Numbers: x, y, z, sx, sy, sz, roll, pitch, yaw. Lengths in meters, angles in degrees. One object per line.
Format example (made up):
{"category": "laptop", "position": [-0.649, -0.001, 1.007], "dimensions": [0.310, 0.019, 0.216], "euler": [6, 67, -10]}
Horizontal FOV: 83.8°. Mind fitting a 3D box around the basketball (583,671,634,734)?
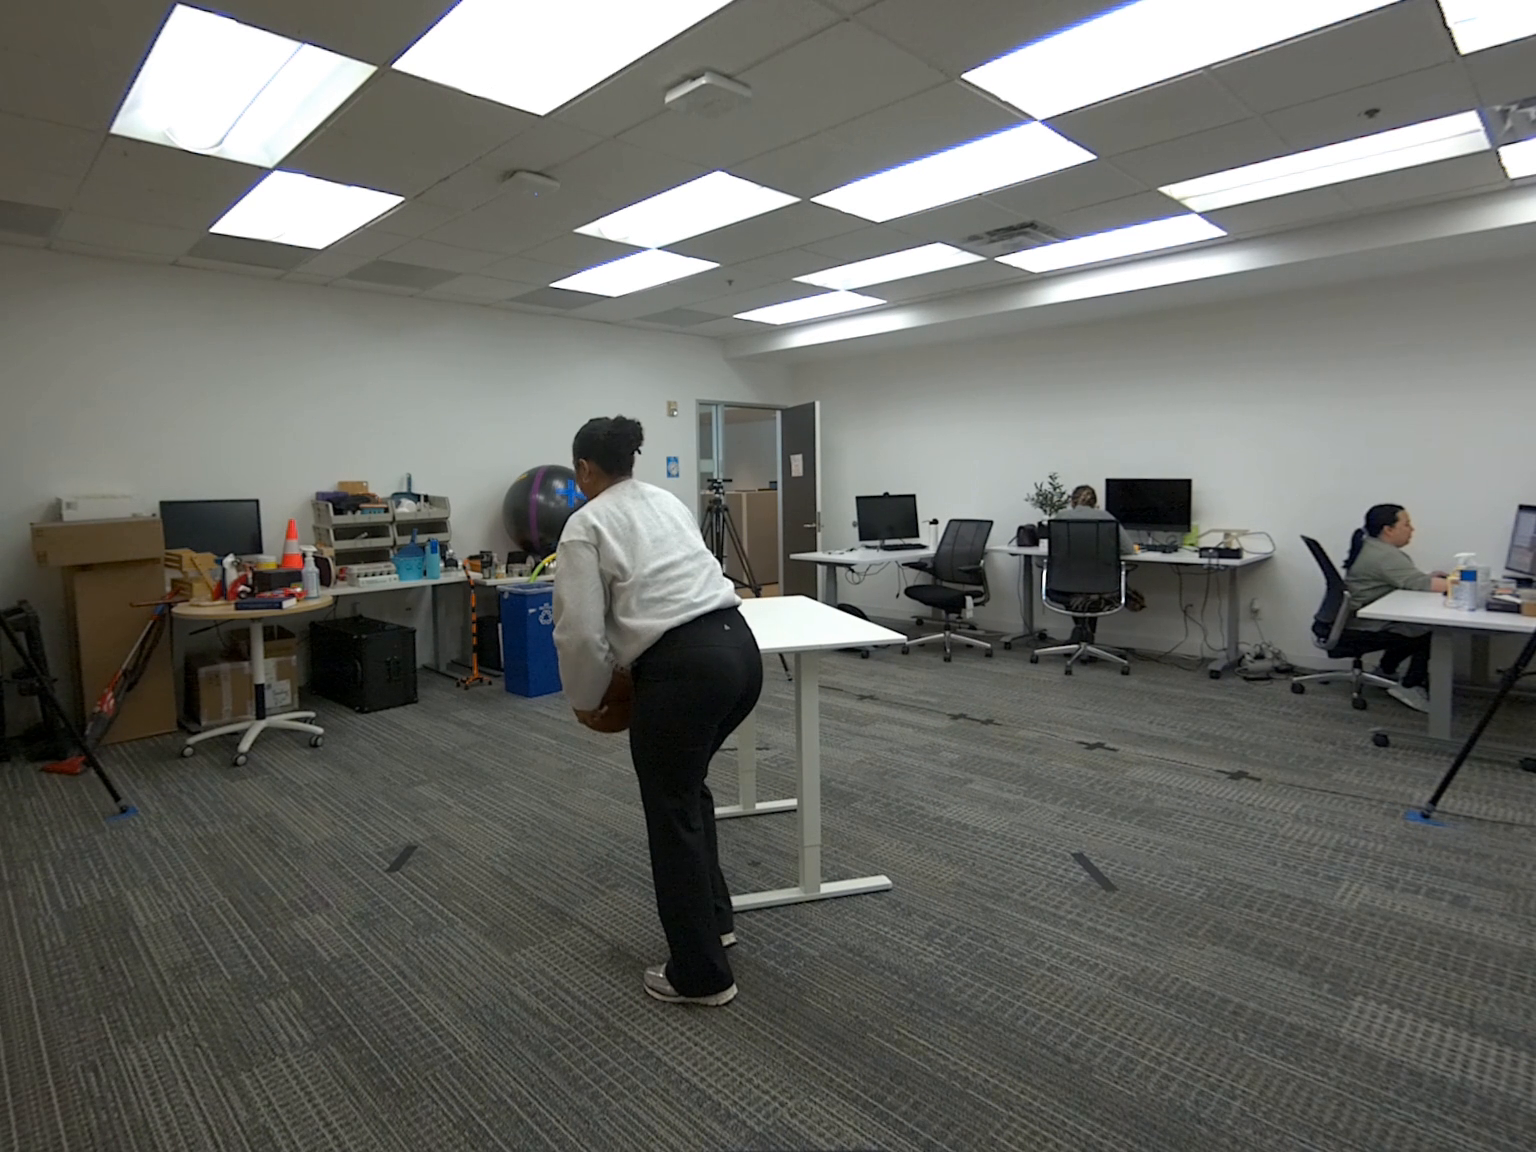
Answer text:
{"category": "basketball", "position": [-0.457, 0.349, 2.547], "dimensions": [0.236, 0.235, 0.237], "euler": [-1, 5, -2]}
